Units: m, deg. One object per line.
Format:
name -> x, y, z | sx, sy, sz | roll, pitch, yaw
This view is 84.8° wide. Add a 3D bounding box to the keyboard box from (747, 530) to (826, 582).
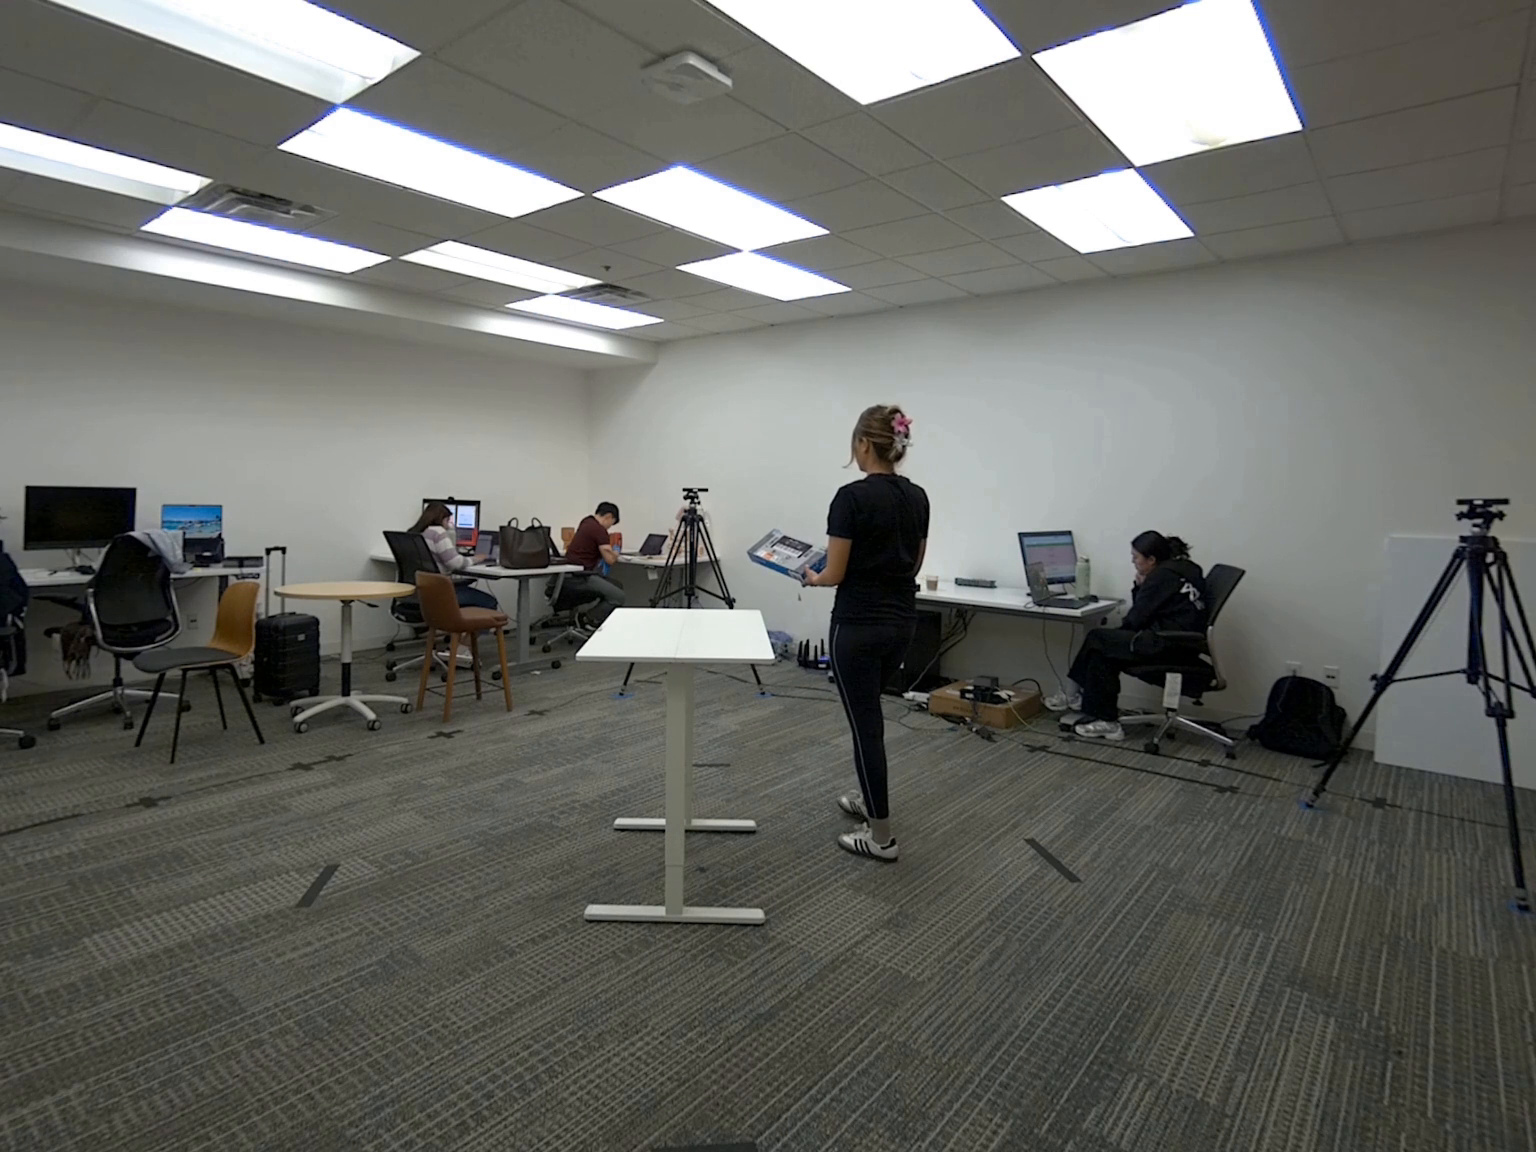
keyboard box -> 0.084, -0.093, 3.680 | 0.175, 0.057, 0.453 | -40, 31, -17
